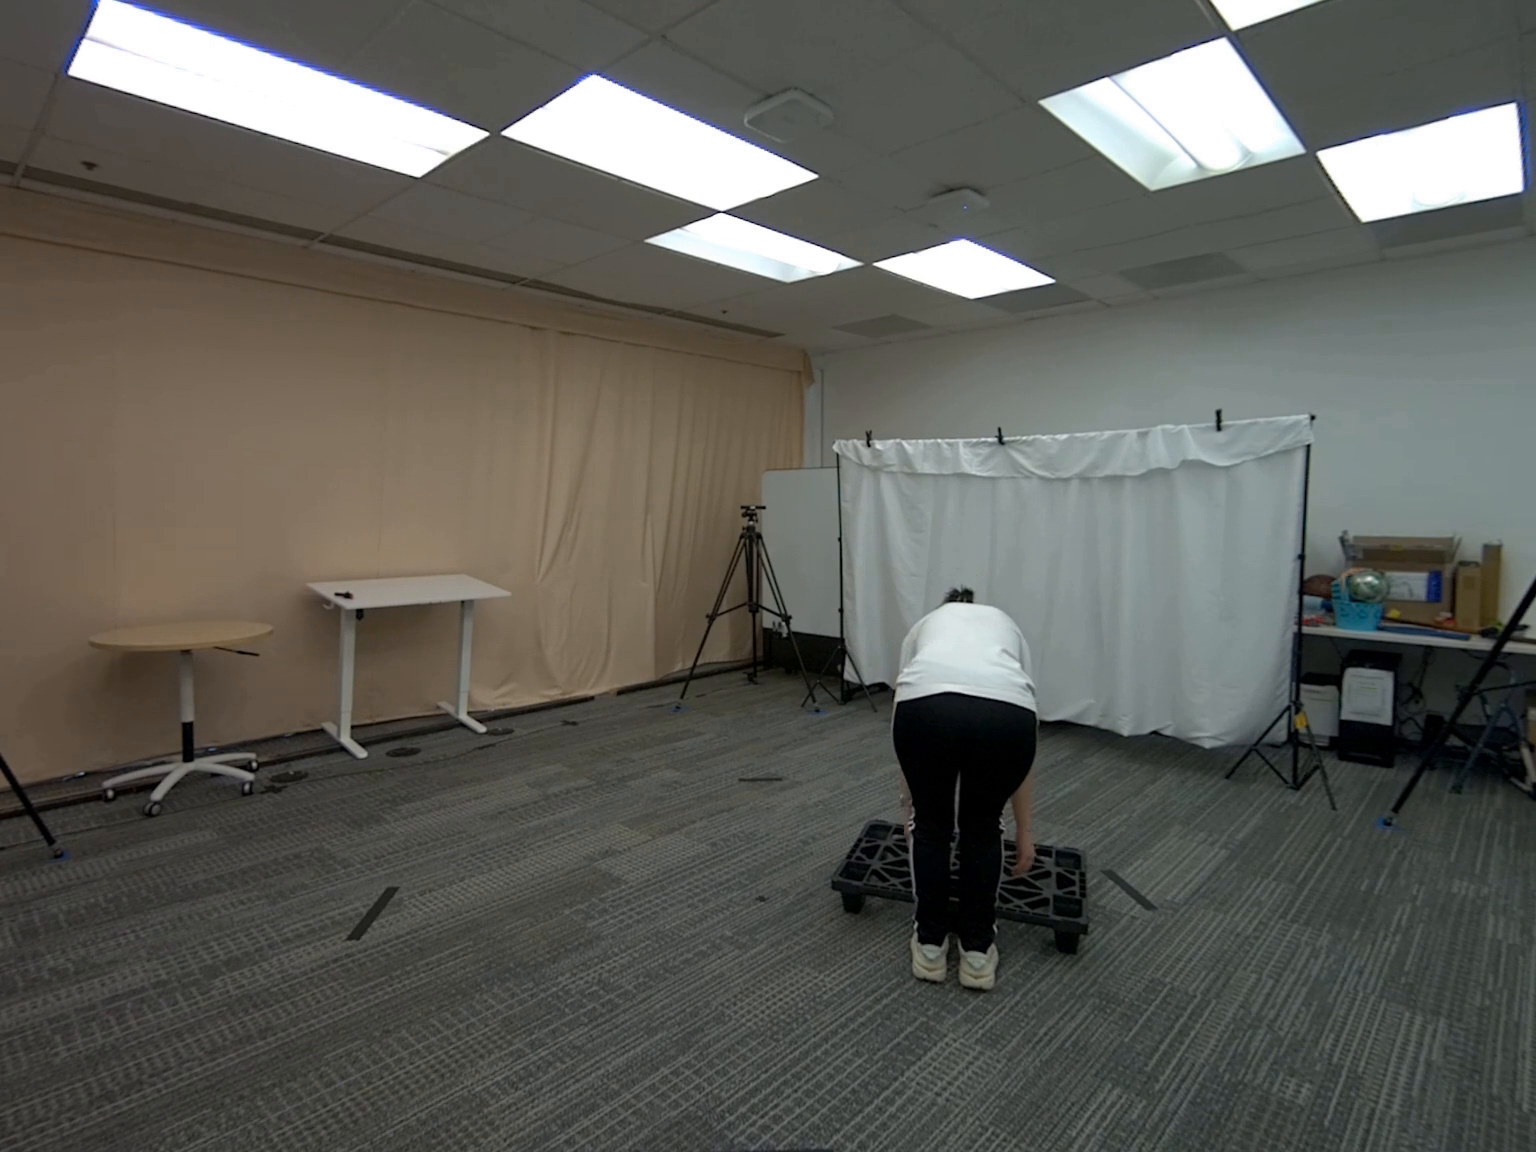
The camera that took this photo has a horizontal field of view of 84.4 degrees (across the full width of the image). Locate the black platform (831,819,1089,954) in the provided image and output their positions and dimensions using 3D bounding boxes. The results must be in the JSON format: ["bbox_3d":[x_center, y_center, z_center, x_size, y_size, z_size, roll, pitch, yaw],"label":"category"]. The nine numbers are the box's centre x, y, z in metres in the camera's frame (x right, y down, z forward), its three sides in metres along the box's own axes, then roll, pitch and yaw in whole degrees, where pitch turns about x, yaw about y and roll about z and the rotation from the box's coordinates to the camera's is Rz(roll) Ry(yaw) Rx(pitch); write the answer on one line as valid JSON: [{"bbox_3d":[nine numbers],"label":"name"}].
[{"bbox_3d":[0.685,1.074,2.955,0.824,0.143,0.593,2,4,21],"label":"black platform"}]
